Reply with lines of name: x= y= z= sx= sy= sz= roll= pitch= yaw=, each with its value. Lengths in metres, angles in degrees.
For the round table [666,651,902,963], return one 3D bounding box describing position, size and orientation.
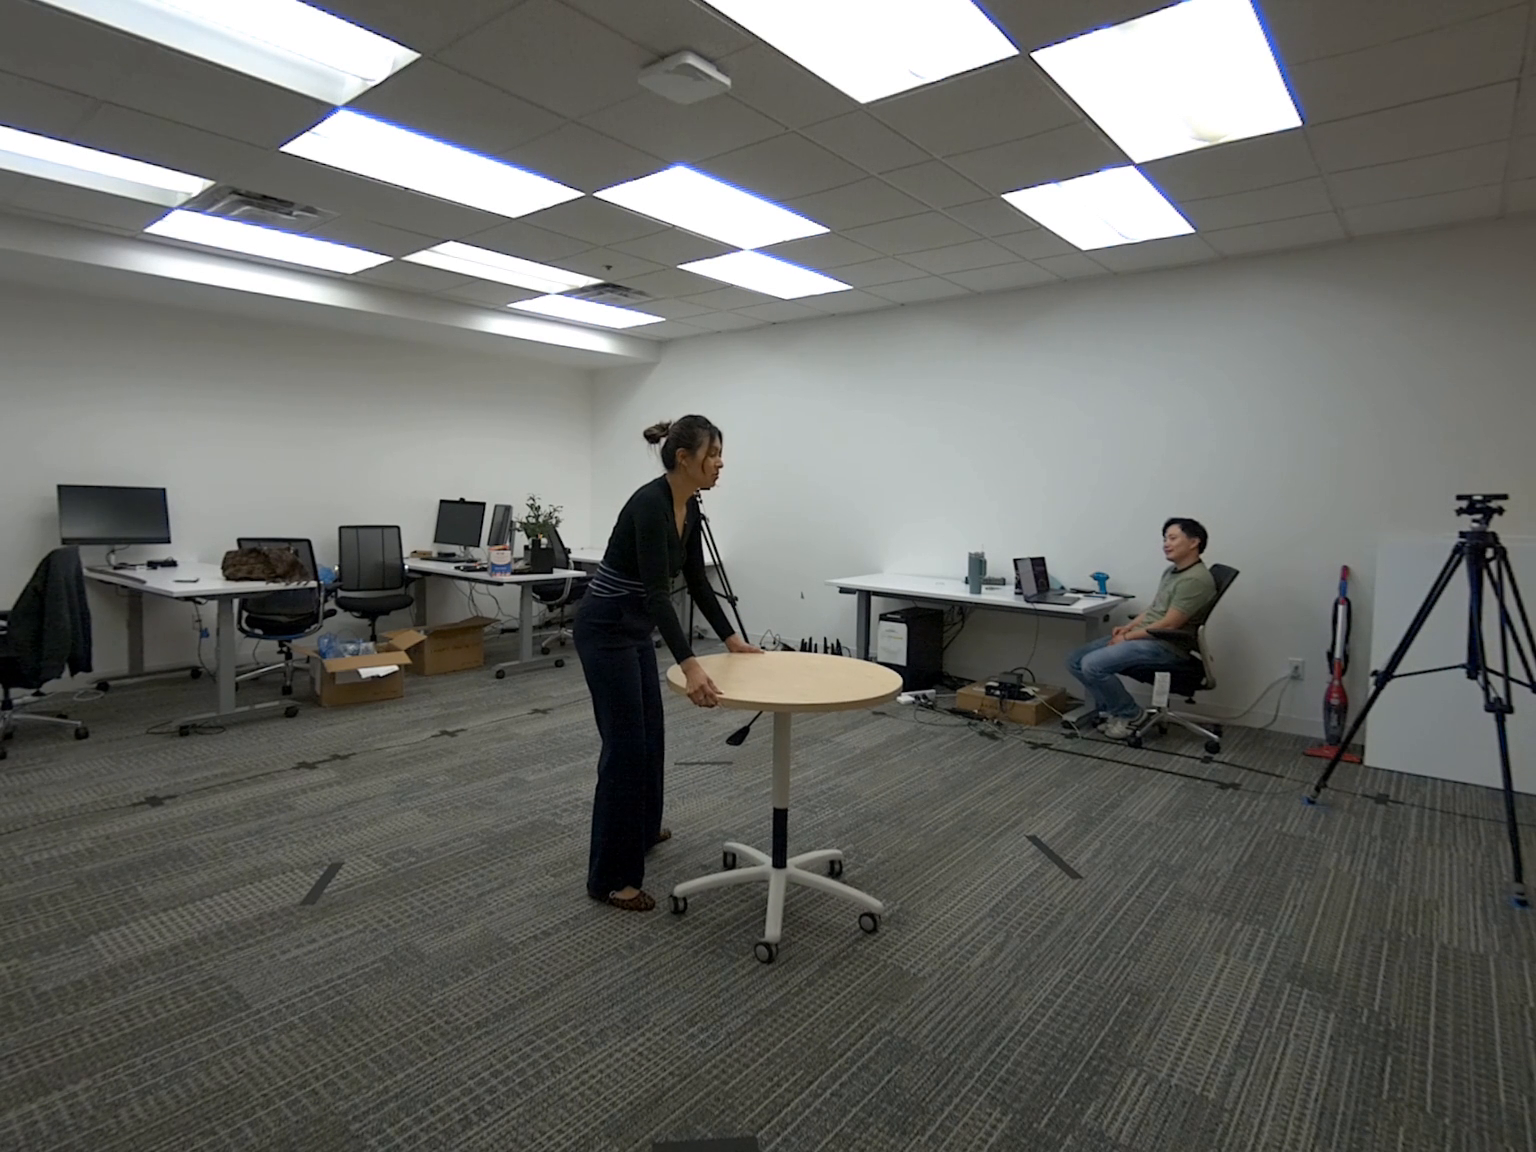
round table: x=0.033 y=0.709 z=2.817 sx=0.763 sy=0.791 sz=0.768 roll=1 pitch=4 yaw=-2
